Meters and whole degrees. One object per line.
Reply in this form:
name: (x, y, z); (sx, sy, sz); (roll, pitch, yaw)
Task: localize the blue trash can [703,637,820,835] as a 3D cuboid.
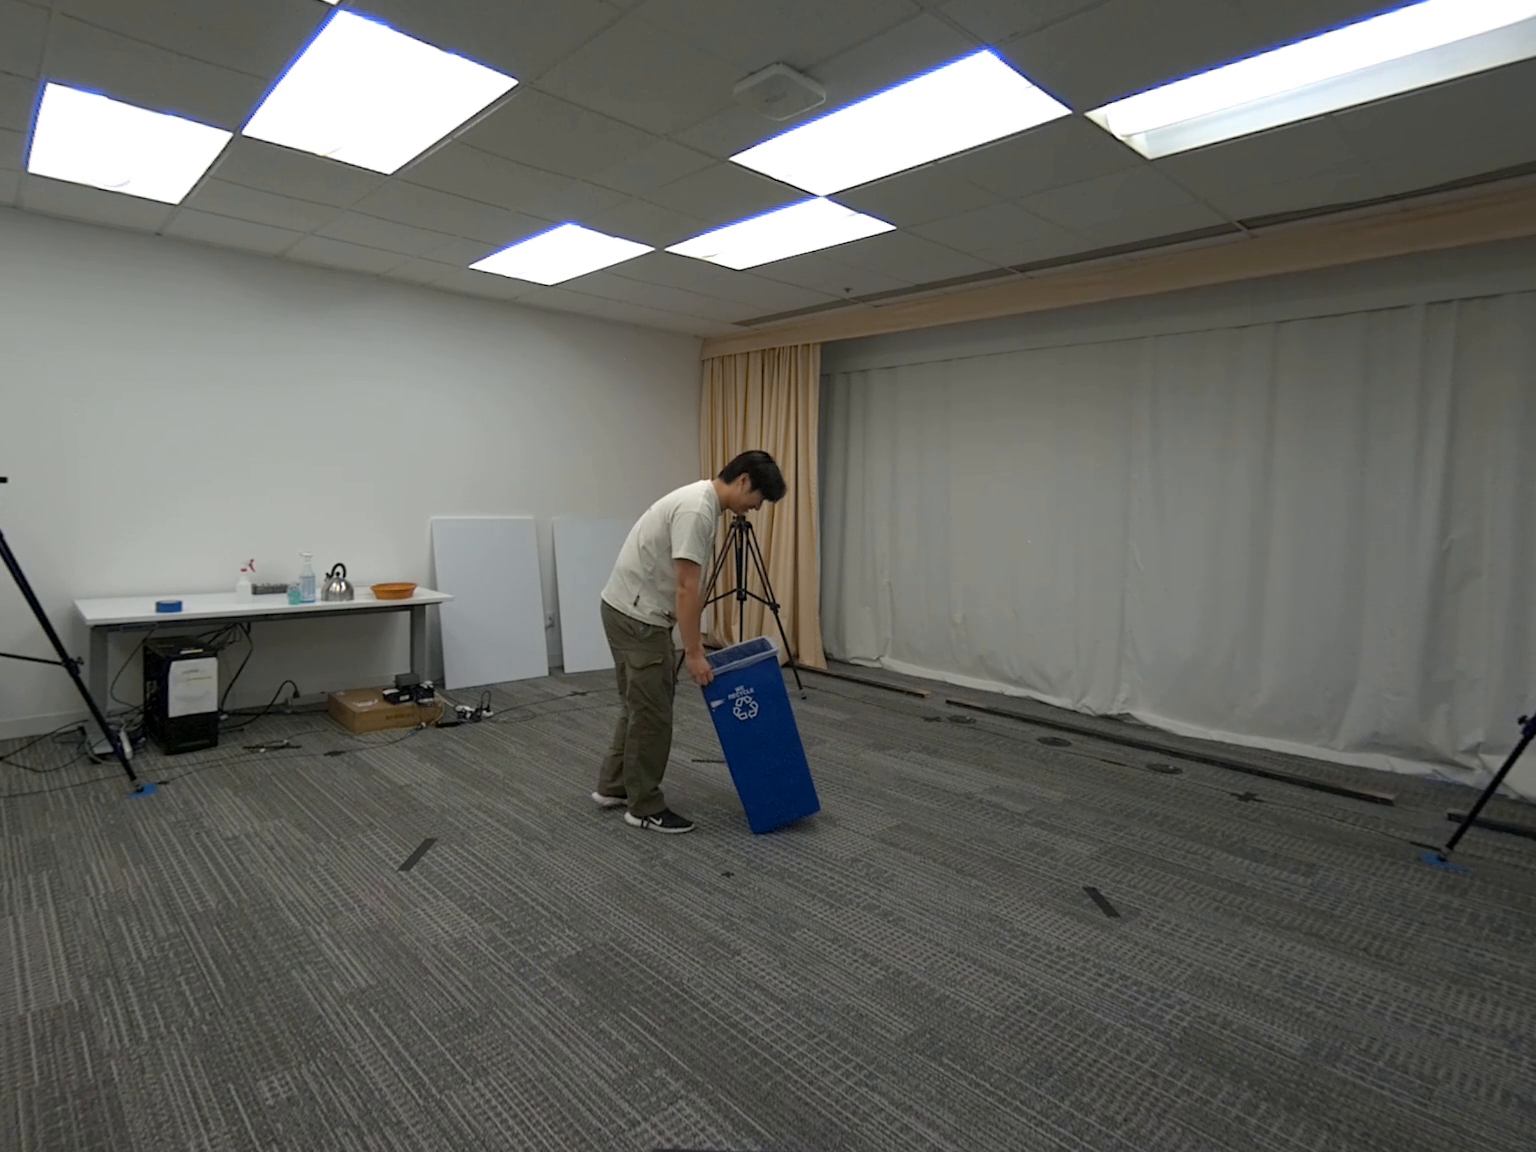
blue trash can: (-0.049, 0.670, 3.608); (0.373, 0.710, 0.381); (-18, 5, -5)
